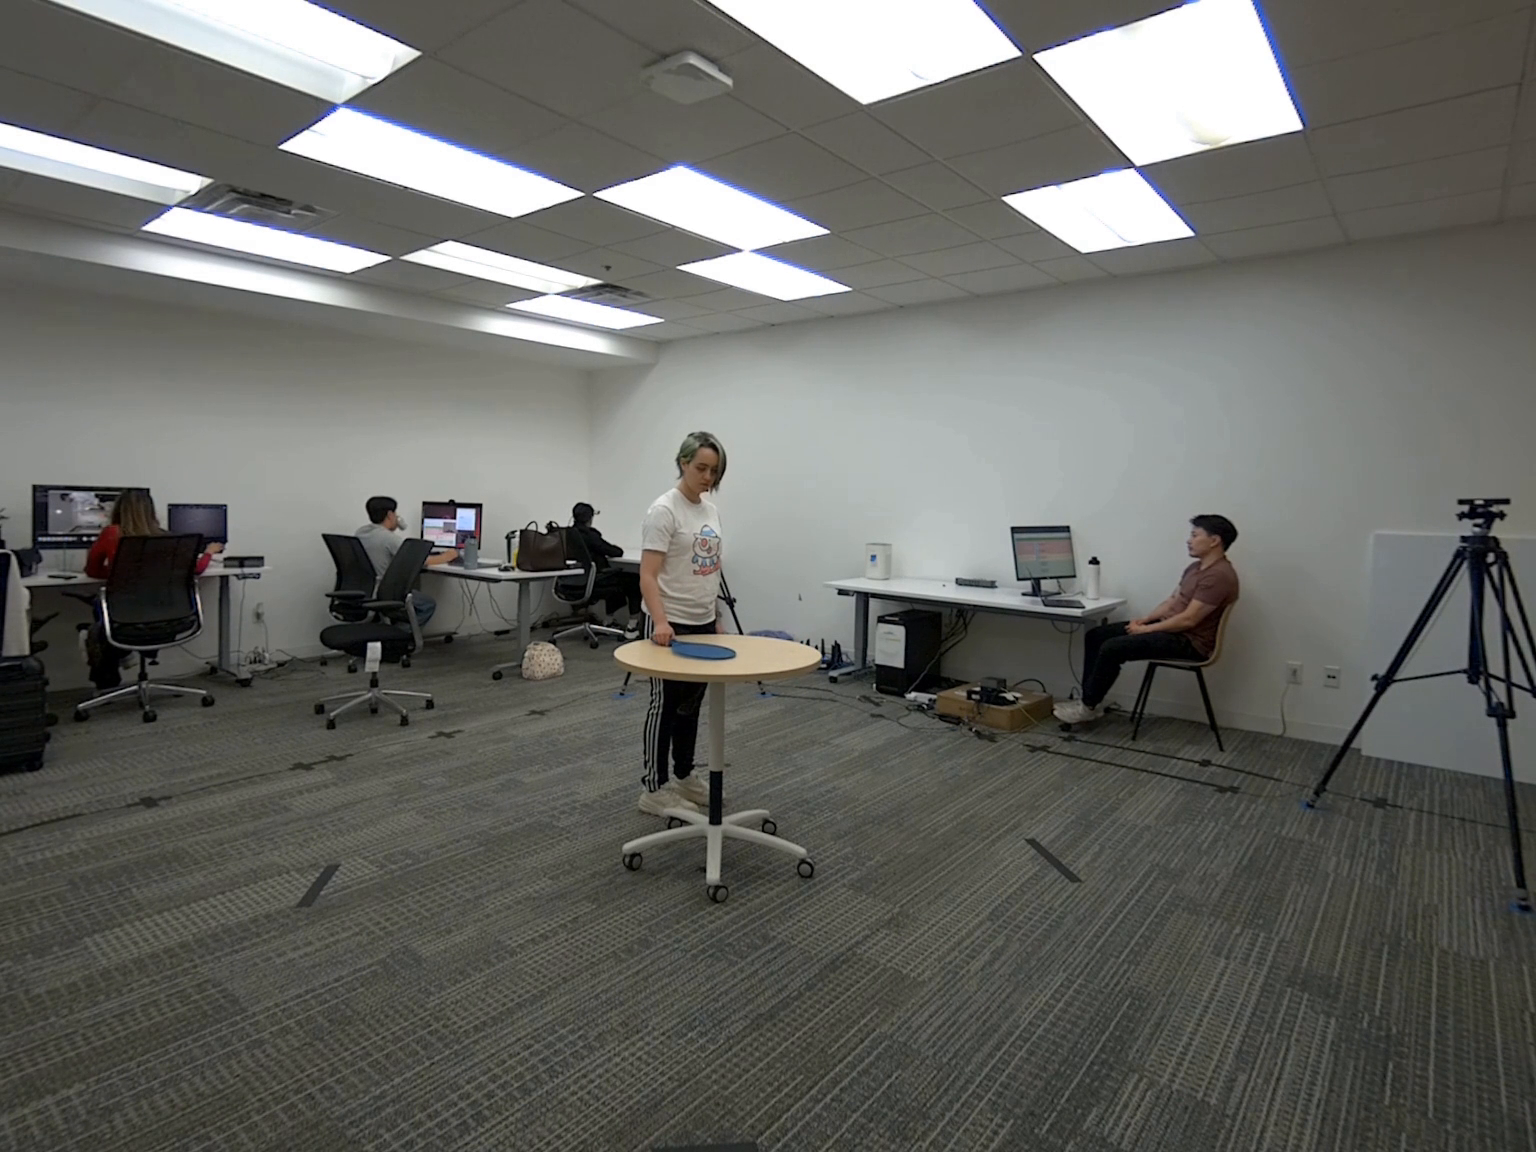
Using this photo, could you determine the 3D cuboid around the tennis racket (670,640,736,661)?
[{"bbox_3d":[-0.303,0.266,3.189,0.207,0.031,0.448,-2,8,-38],"label":"tennis racket"}]
